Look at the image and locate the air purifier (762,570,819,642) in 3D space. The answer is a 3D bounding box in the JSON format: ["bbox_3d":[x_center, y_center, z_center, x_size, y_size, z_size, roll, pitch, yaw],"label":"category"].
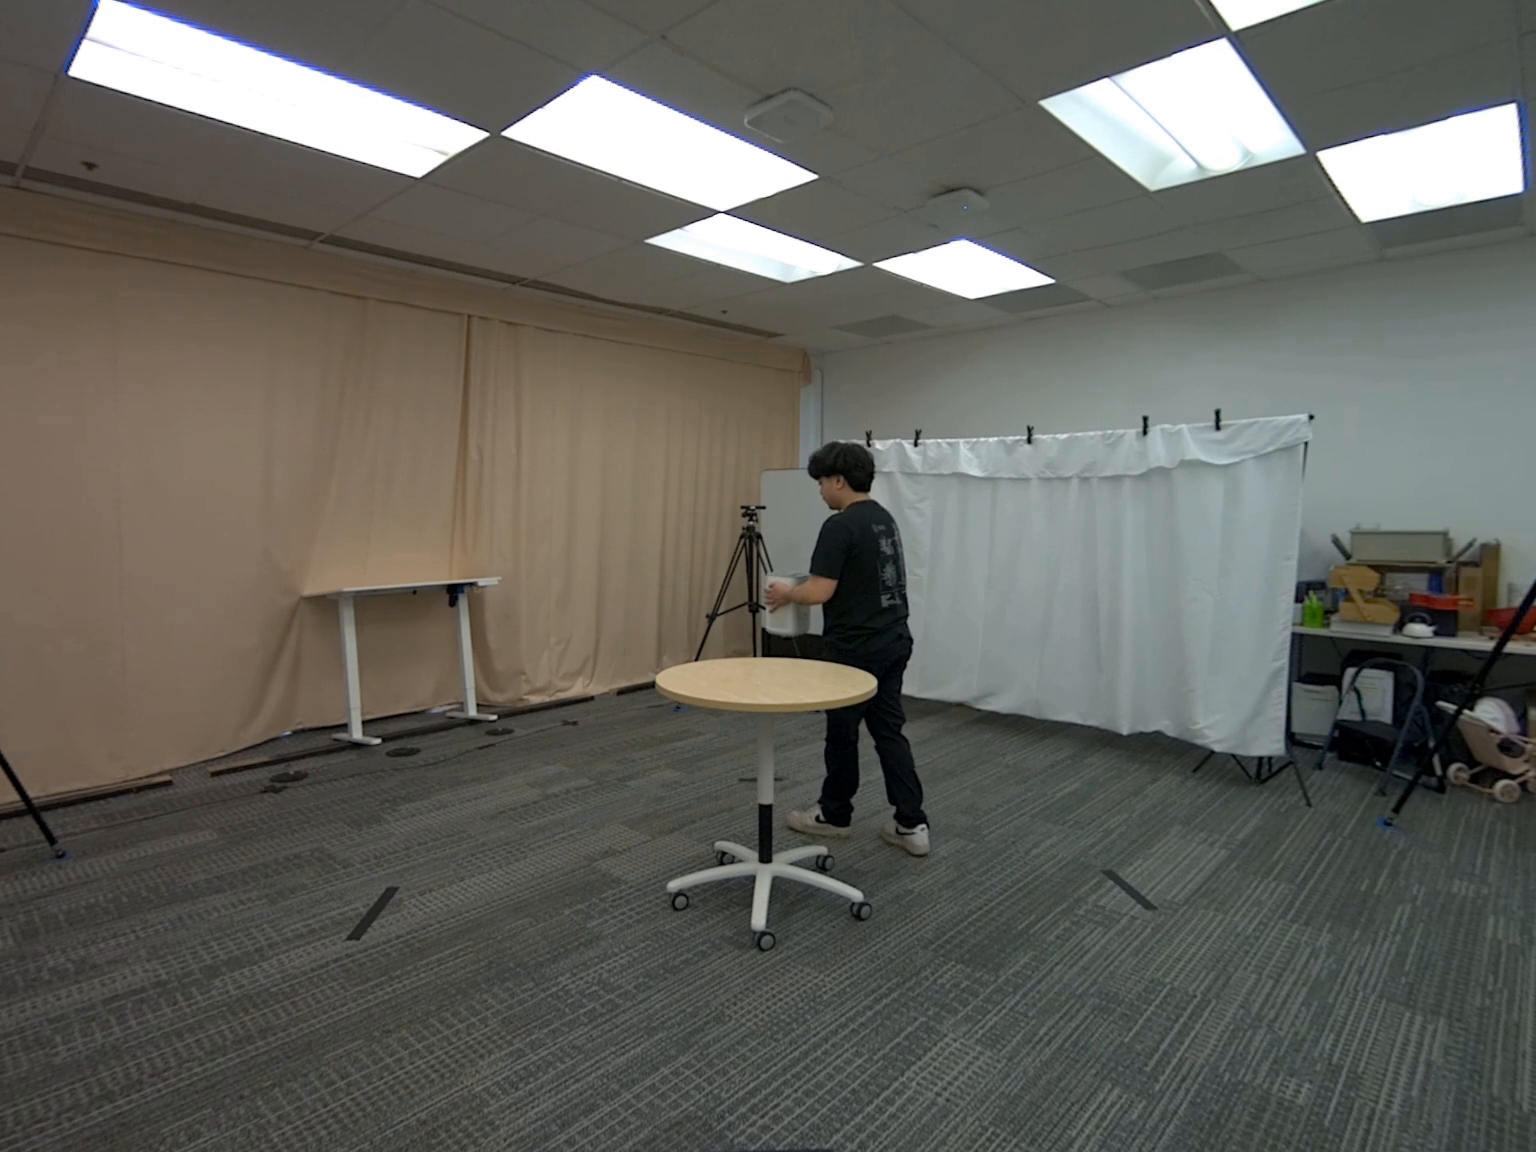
[{"bbox_3d":[0.098,0.123,3.675,0.177,0.264,0.166,8,10,41],"label":"air purifier"}]
